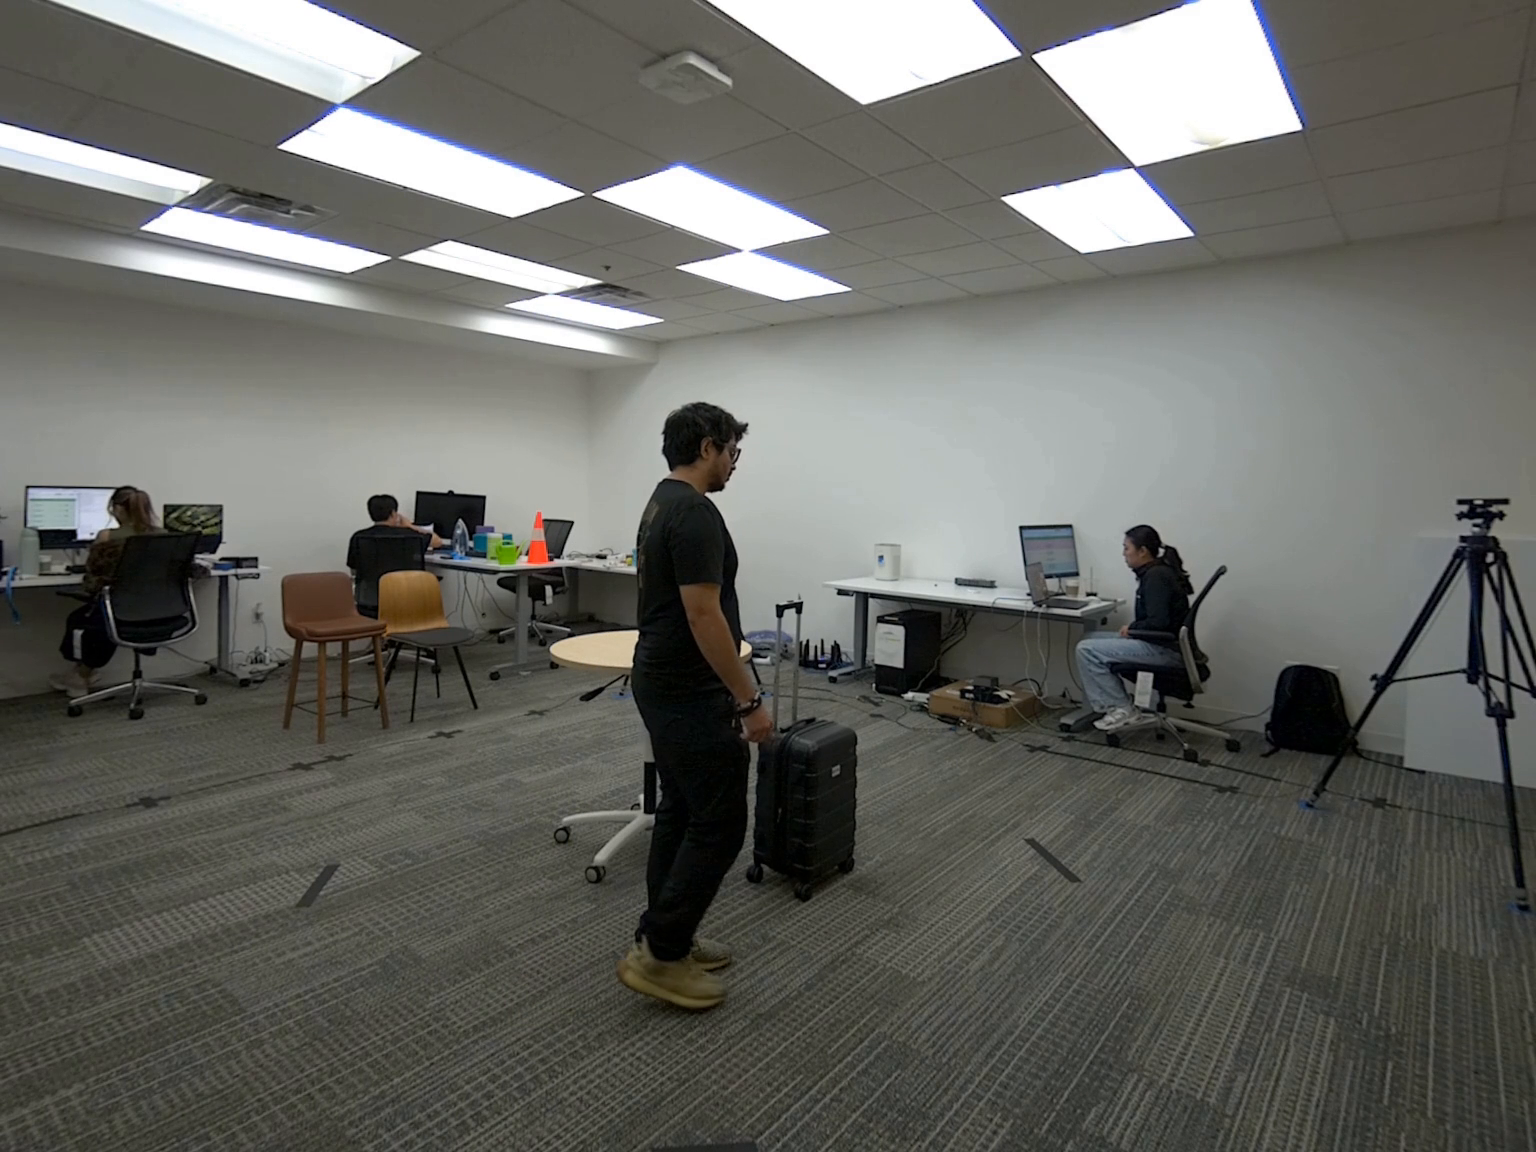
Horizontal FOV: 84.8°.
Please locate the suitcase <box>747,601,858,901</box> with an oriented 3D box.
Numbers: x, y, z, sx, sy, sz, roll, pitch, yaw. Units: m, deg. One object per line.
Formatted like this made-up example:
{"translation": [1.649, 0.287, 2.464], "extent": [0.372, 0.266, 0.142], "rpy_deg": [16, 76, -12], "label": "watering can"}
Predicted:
{"translation": [0.144, 0.601, 3.065], "extent": [0.265, 0.976, 0.373], "rpy_deg": [5, 4, 34], "label": "suitcase"}
